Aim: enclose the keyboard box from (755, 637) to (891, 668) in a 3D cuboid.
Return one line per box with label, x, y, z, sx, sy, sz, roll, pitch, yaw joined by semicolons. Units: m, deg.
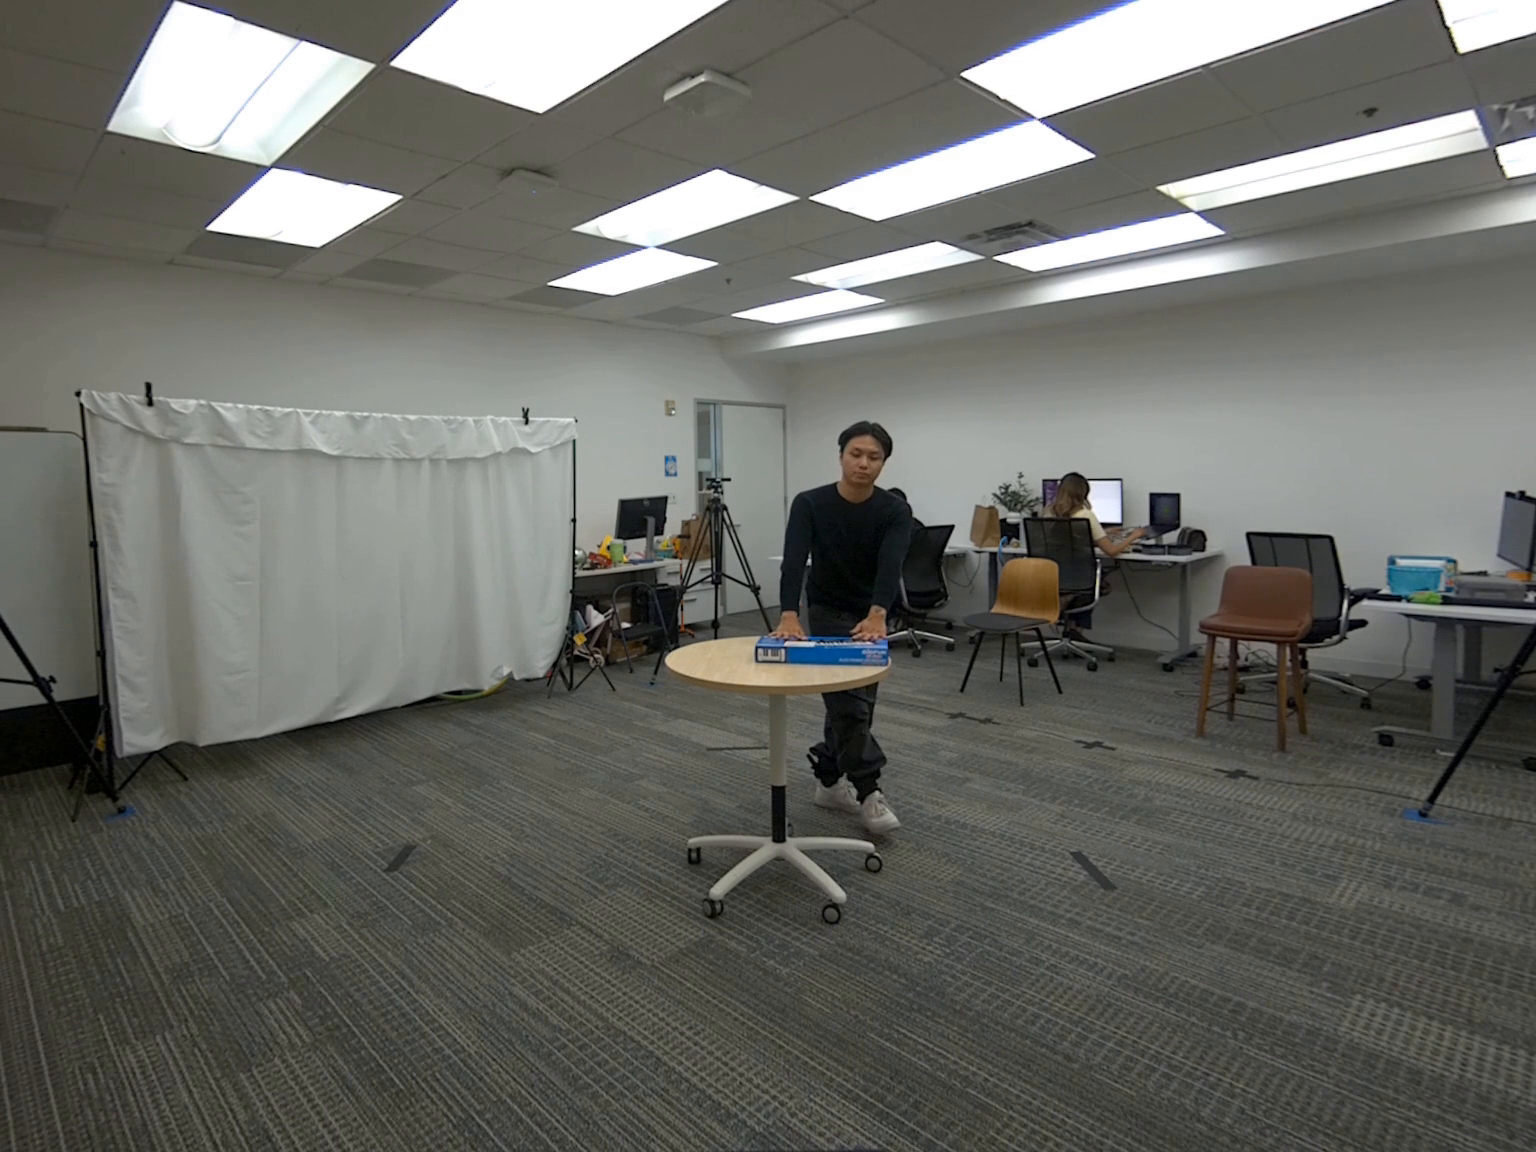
keyboard box;0.187;0.253;2.885;0.441;0.059;0.175;0;5;10
